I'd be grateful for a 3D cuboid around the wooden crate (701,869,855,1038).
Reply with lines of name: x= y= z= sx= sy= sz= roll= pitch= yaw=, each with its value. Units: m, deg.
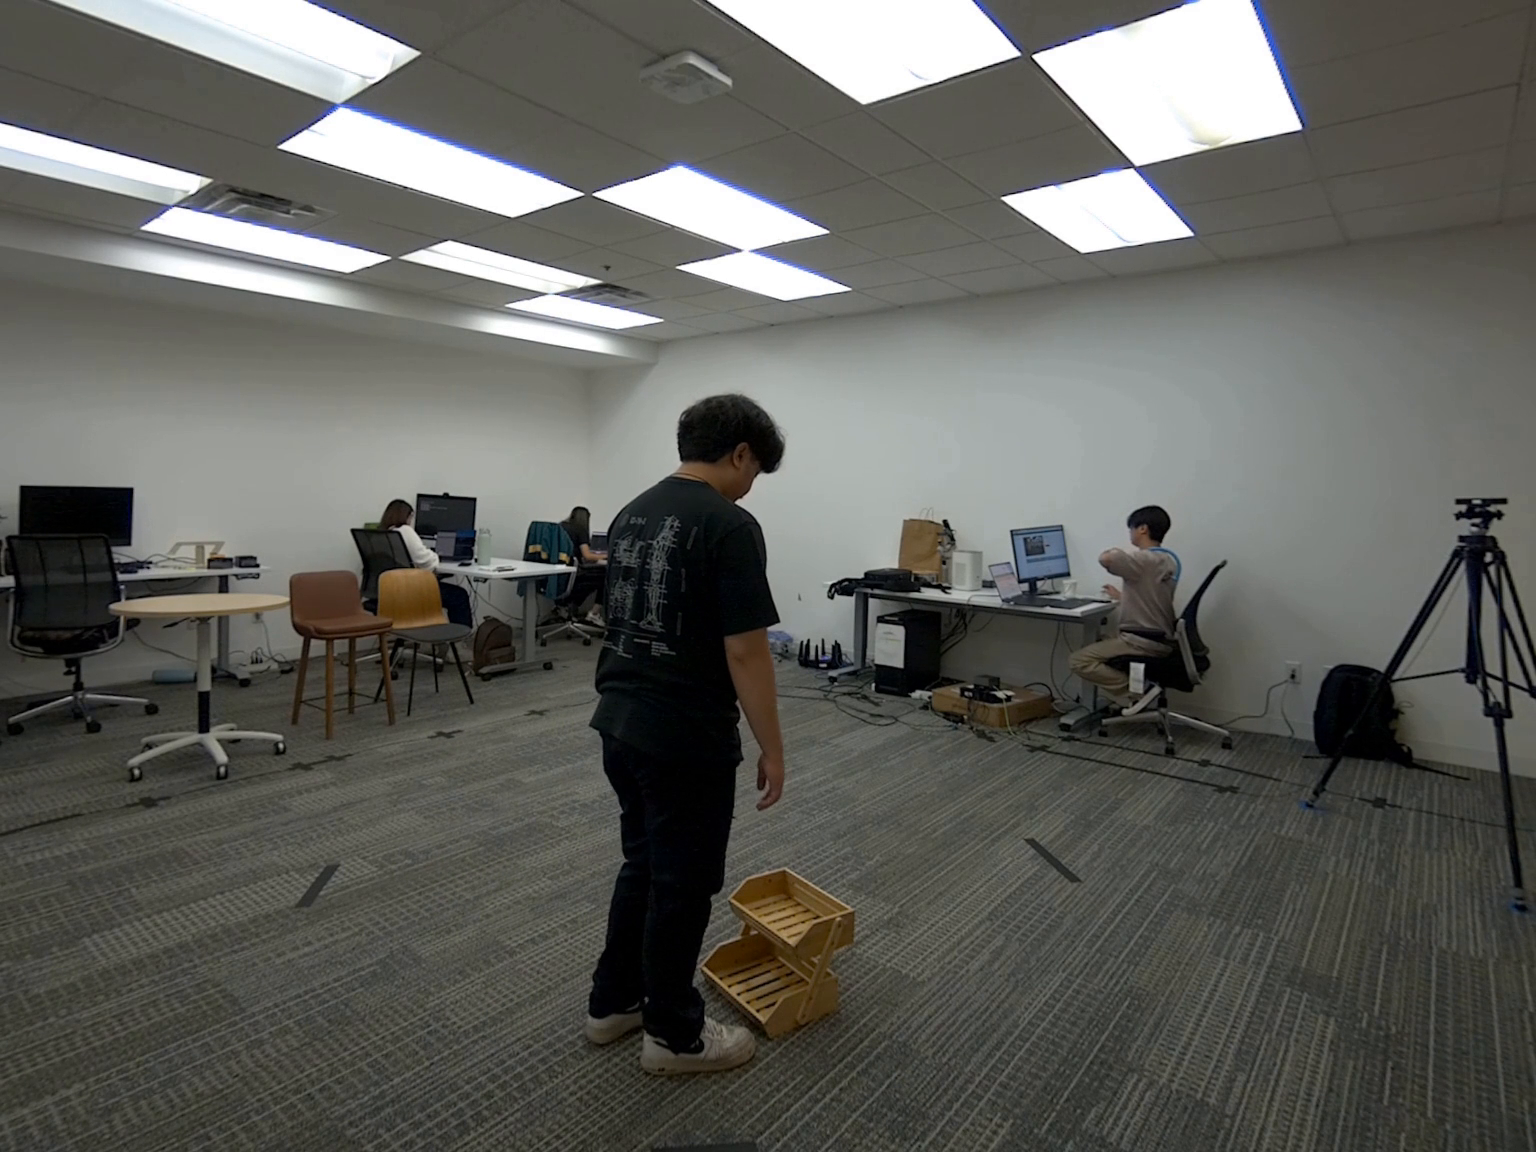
wooden crate: x=0.016 y=1.020 z=2.343 sx=0.293 sy=0.272 sz=0.335 roll=-2 pitch=5 yaw=-37
